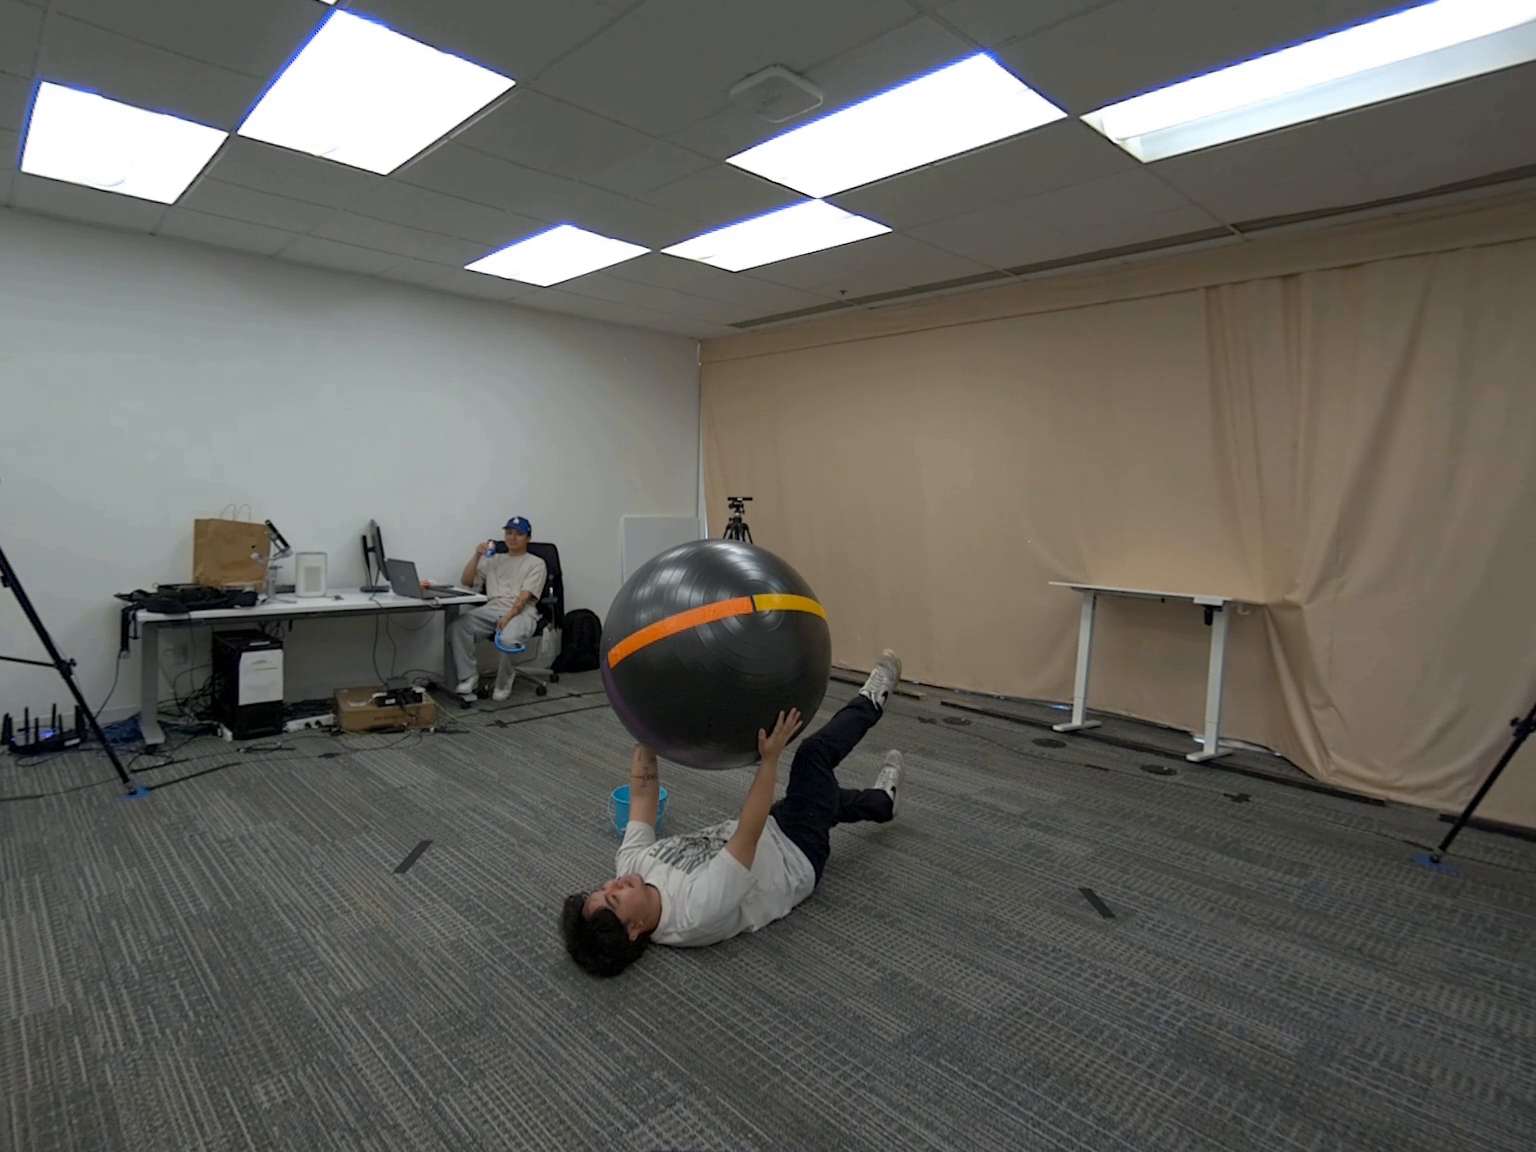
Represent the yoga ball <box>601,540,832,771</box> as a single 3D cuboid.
[{"bbox_3d":[-0.176,0.262,2.783,0.757,0.756,0.761,1,4,-1],"label":"yoga ball"}]
